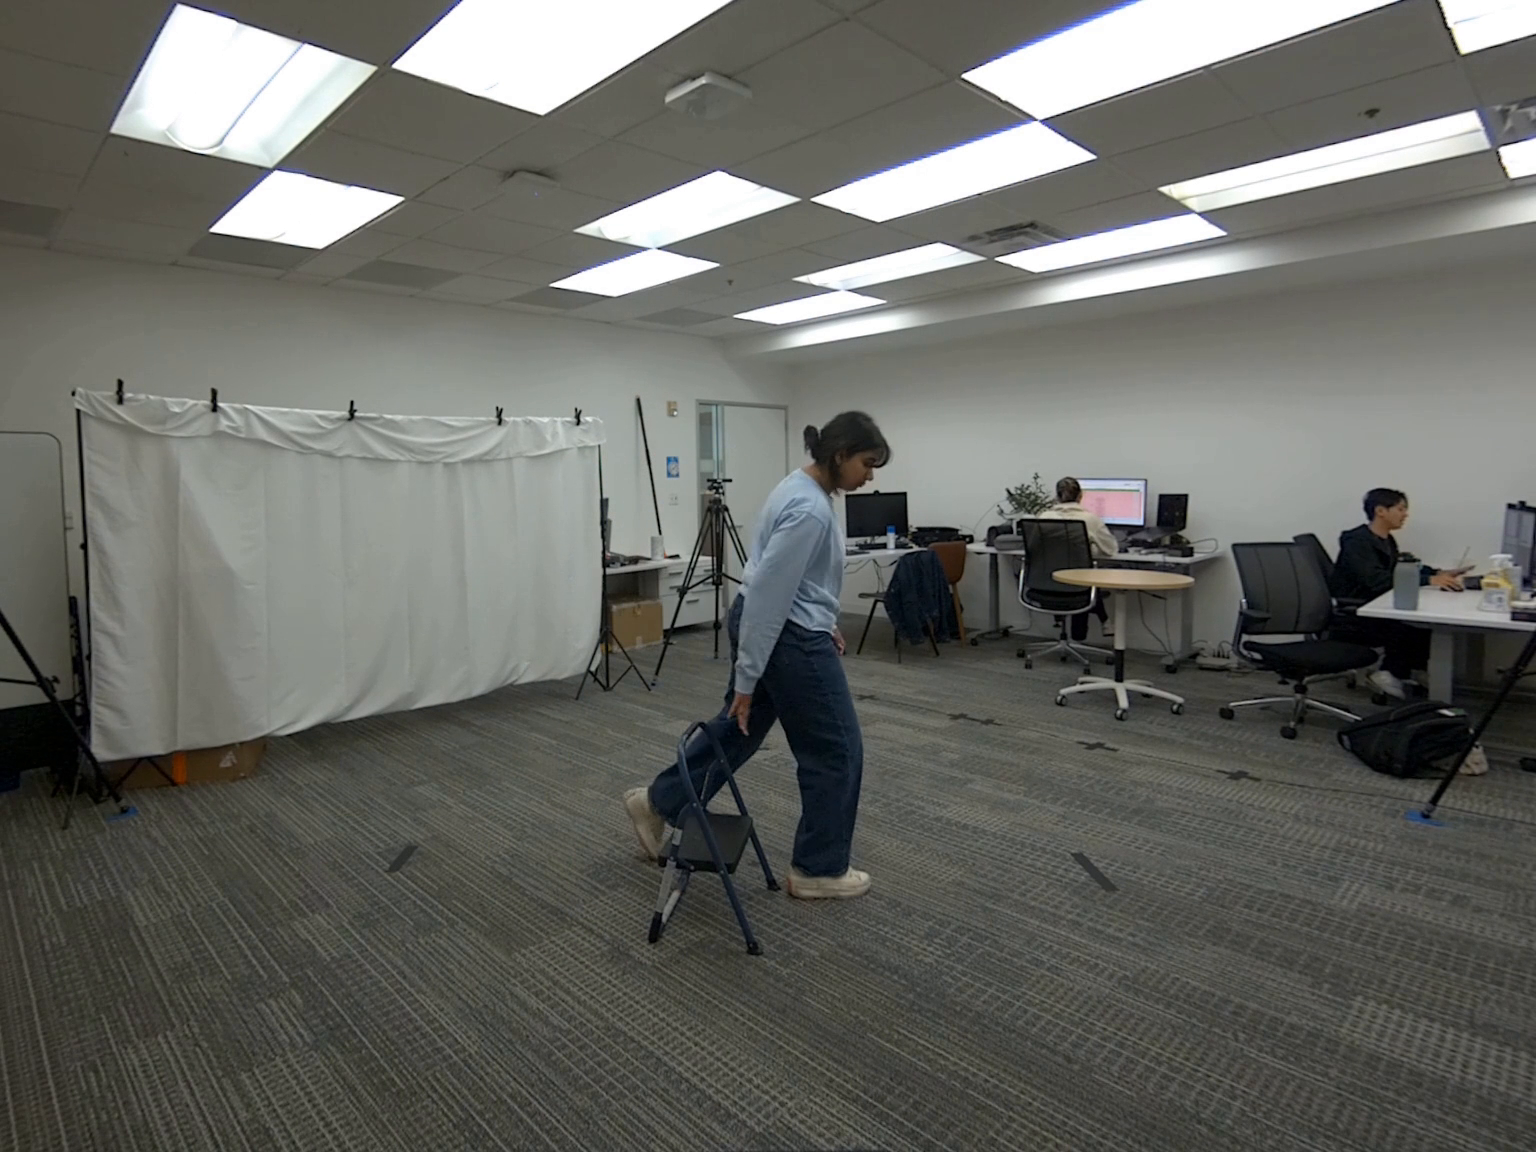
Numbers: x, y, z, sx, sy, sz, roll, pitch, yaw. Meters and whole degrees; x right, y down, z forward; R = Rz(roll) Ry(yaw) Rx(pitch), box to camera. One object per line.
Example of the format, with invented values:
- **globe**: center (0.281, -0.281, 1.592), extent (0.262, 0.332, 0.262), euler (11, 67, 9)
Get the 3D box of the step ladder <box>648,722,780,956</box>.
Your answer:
- **step ladder**: center (-0.168, 0.791, 2.726), extent (0.353, 0.604, 0.428), euler (0, 5, 10)
